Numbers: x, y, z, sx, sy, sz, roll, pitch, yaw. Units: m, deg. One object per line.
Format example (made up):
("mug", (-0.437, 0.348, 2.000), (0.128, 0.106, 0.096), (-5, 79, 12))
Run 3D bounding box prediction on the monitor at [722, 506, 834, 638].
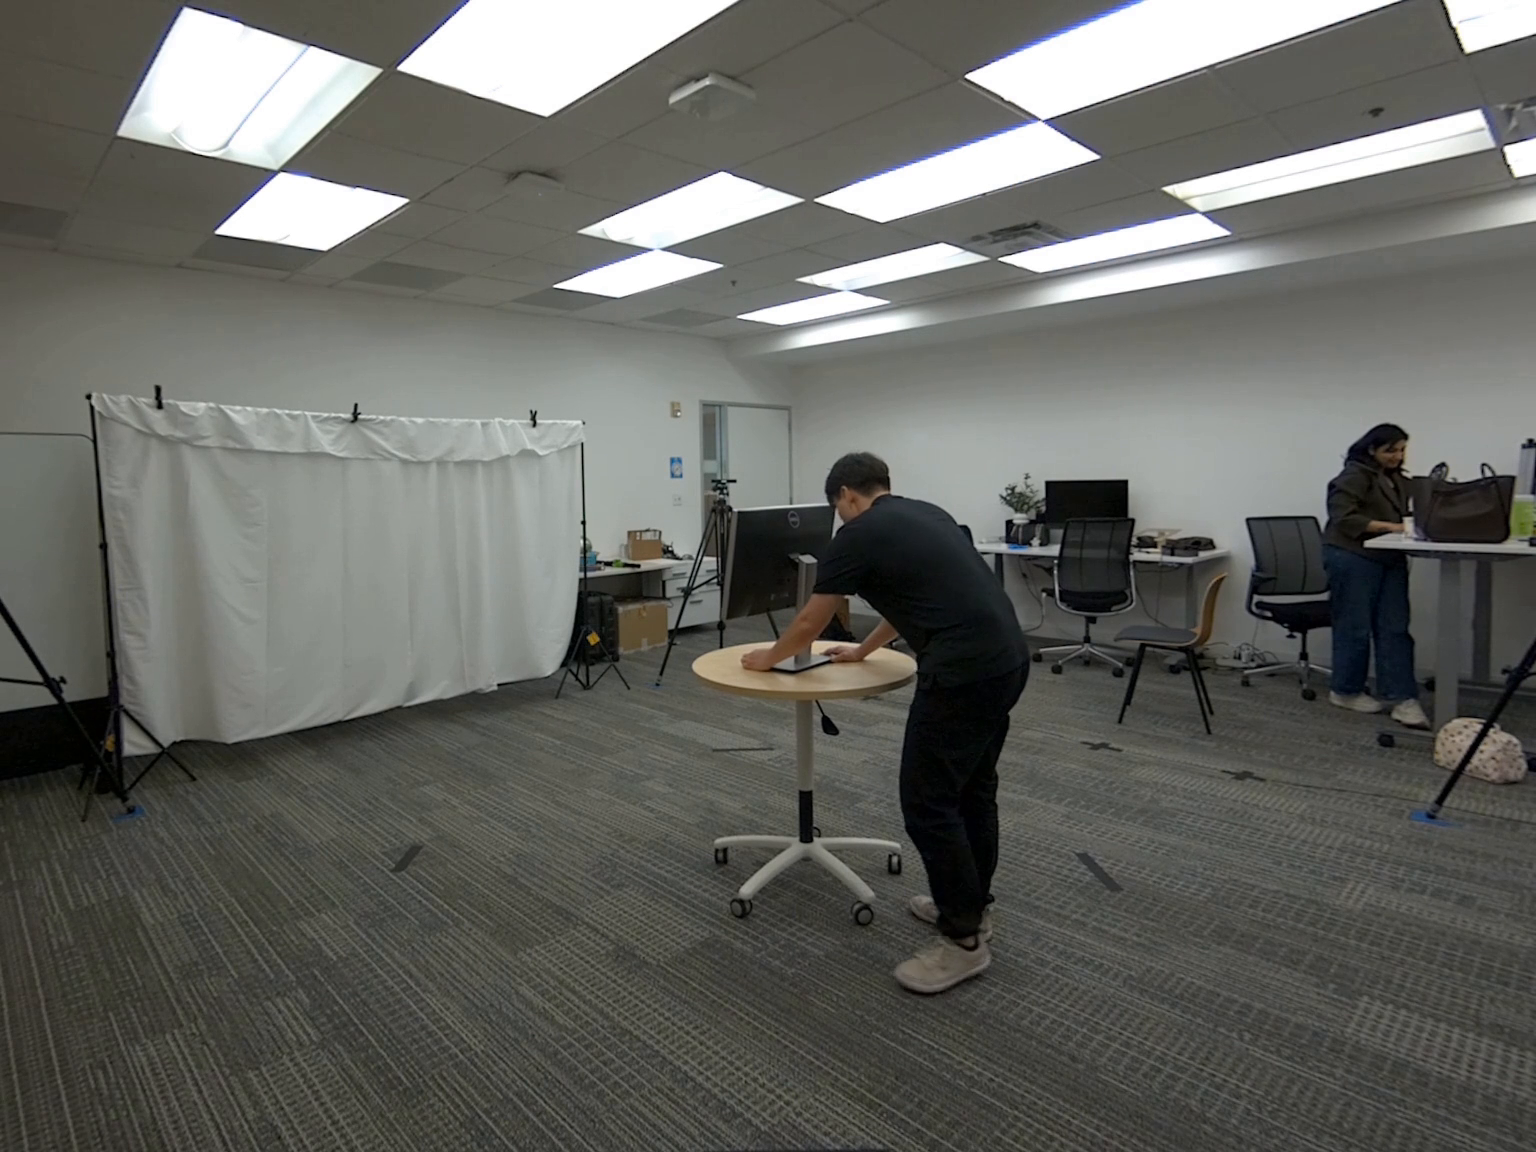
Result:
("monitor", (0.078, 0.034, 2.905), (0.192, 0.521, 0.525), (-1, 4, 38))
